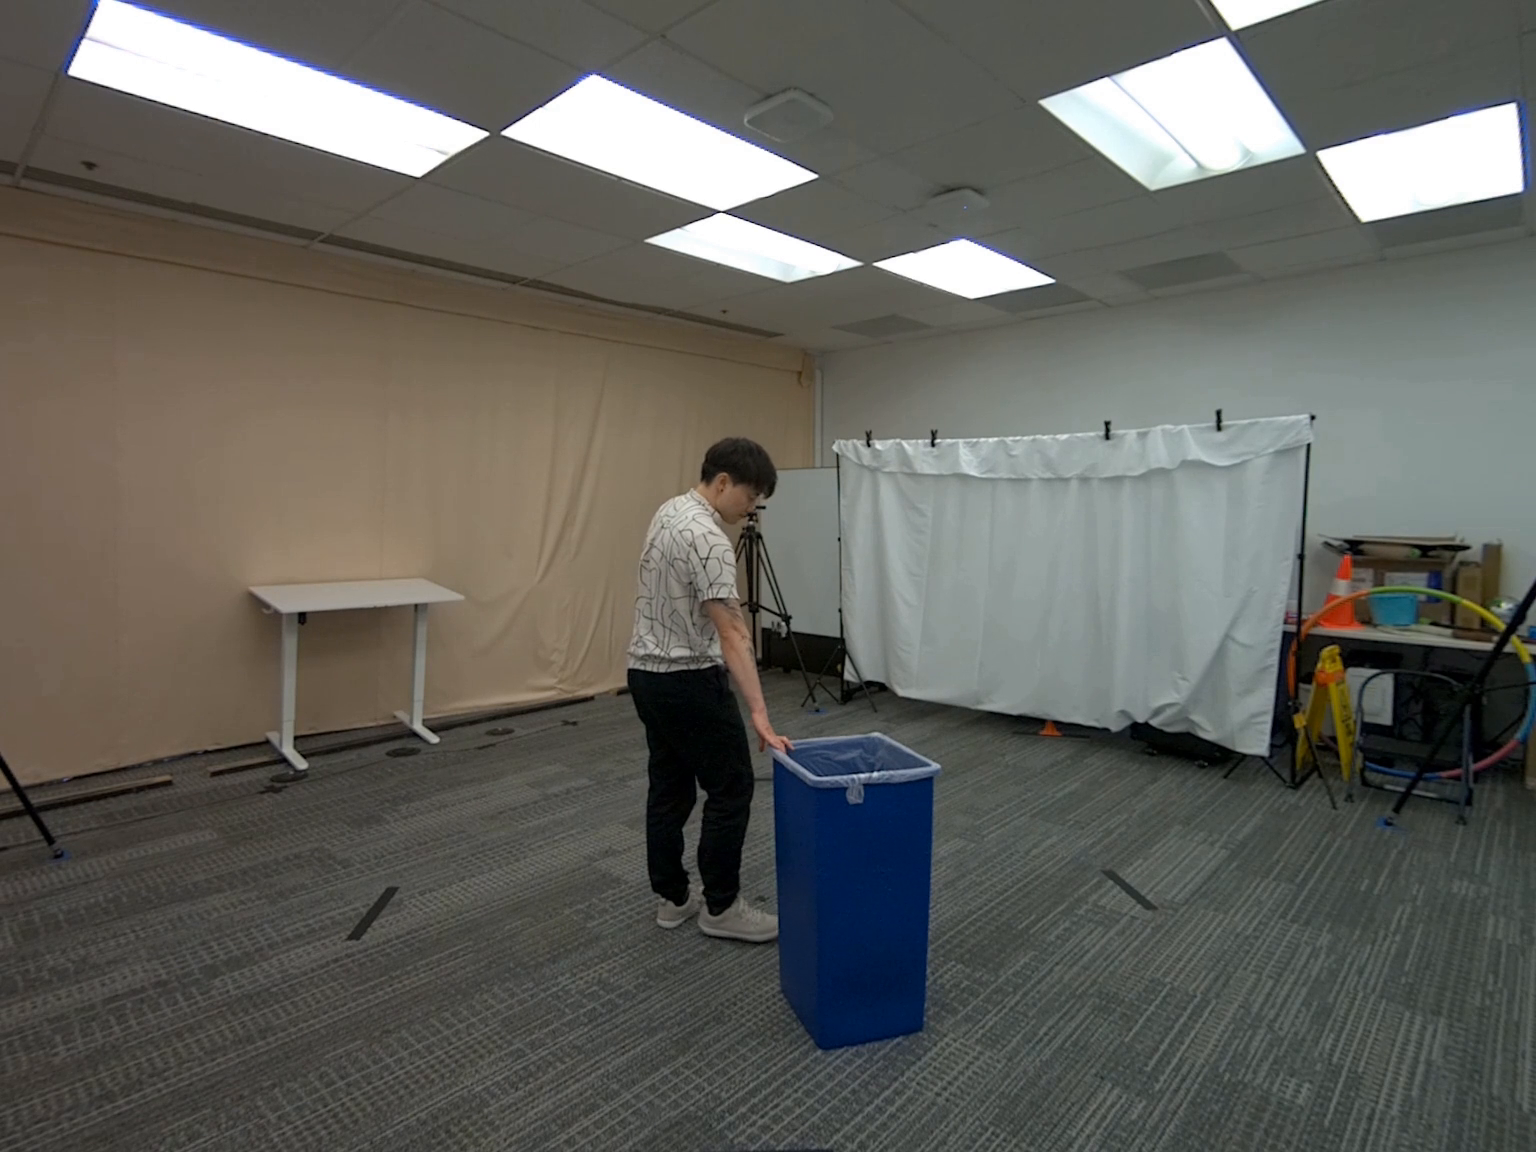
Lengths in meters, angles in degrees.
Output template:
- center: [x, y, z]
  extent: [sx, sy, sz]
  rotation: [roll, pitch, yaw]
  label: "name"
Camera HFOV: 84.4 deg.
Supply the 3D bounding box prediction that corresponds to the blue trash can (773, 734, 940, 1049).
- center: [0.226, 0.842, 2.316]
  extent: [0.371, 0.712, 0.382]
  rotation: [-1, 3, -19]
  label: "blue trash can"
